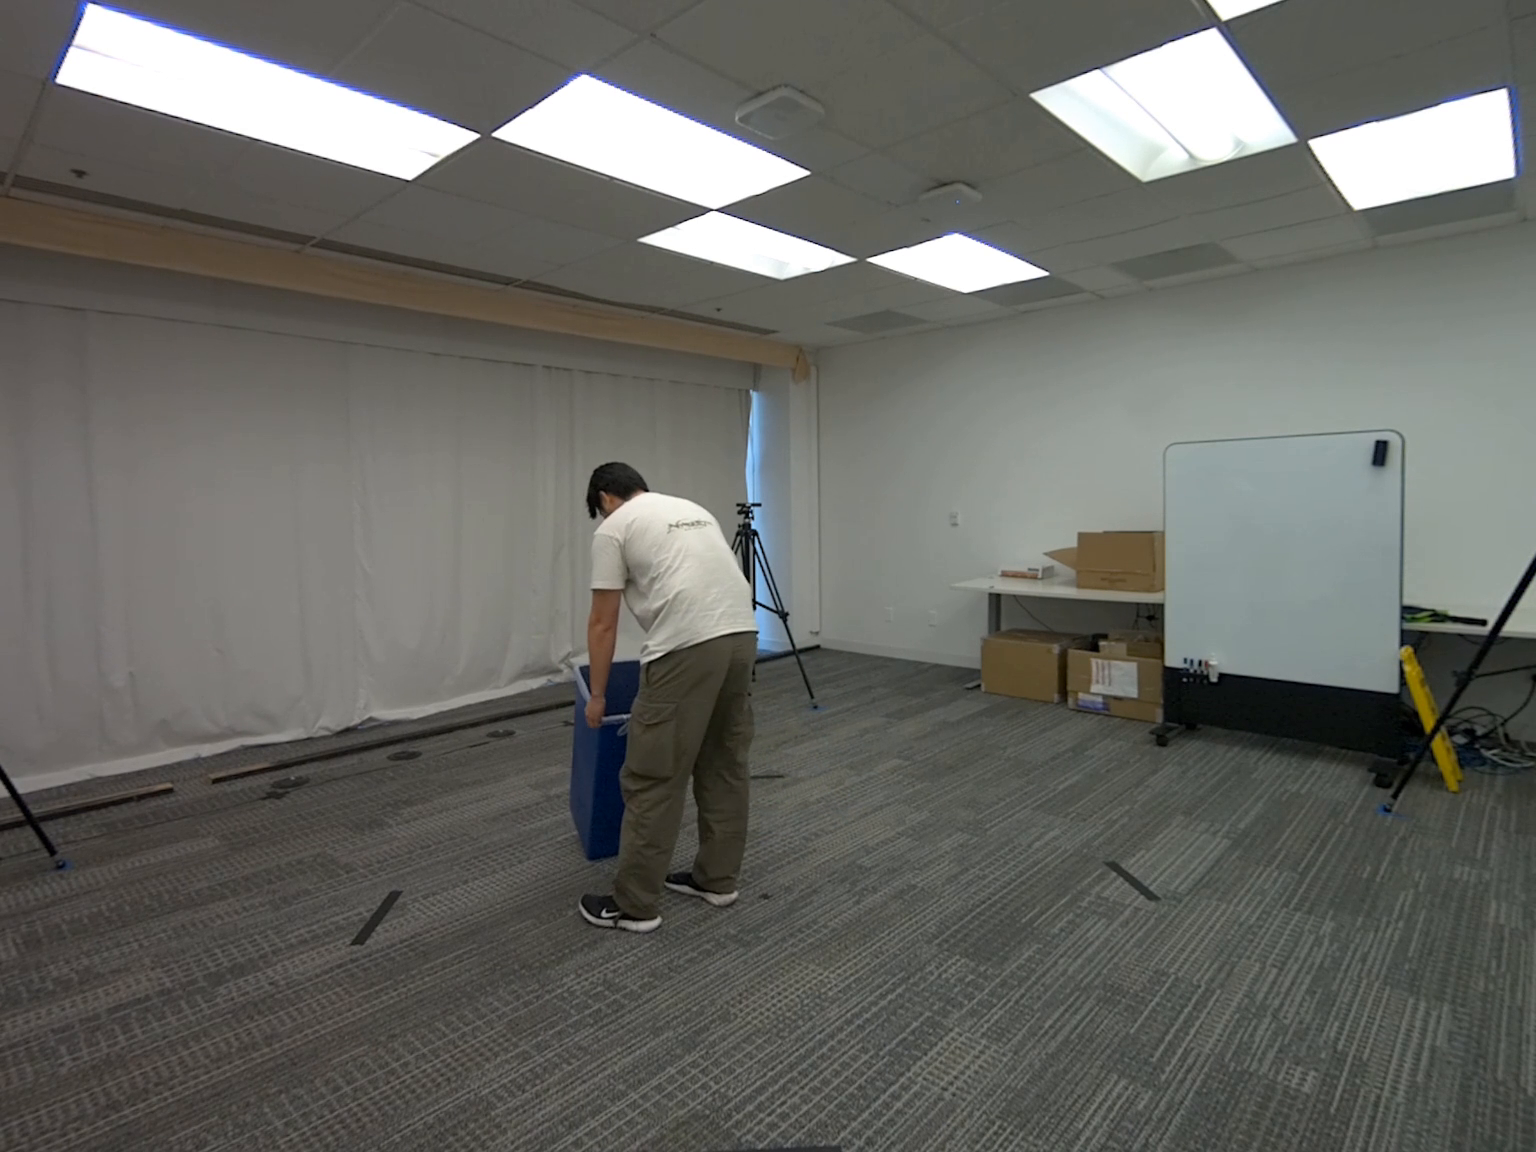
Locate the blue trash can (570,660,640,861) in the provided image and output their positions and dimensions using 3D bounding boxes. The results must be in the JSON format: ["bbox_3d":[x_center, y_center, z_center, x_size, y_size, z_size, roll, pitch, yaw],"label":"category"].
[{"bbox_3d":[-0.587,0.726,3.353,0.369,0.706,0.387,-3,29,-27],"label":"blue trash can"}]
